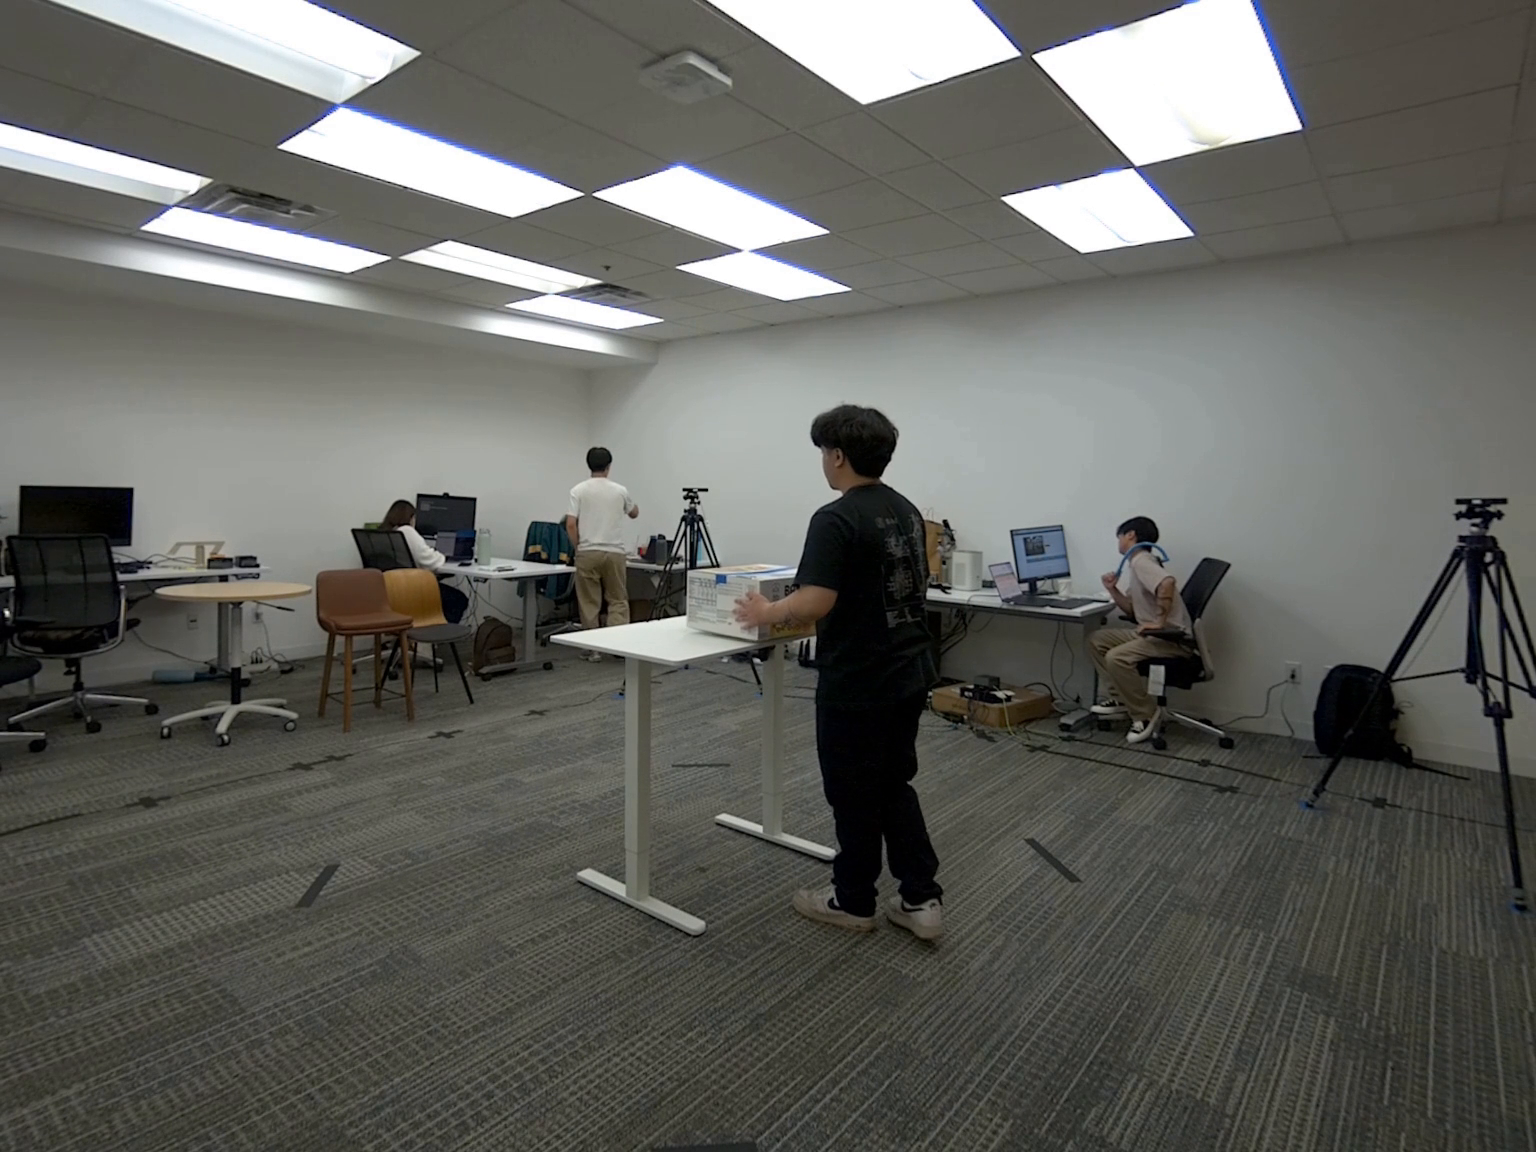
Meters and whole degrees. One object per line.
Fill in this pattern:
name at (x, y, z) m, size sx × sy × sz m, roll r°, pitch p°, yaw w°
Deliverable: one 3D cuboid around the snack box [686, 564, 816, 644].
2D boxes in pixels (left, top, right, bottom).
snack box at (-0.034, 0.080, 3.010) m, size 0.352 × 0.205 × 0.393 m, roll 6°, pitch 8°, yaw 41°
